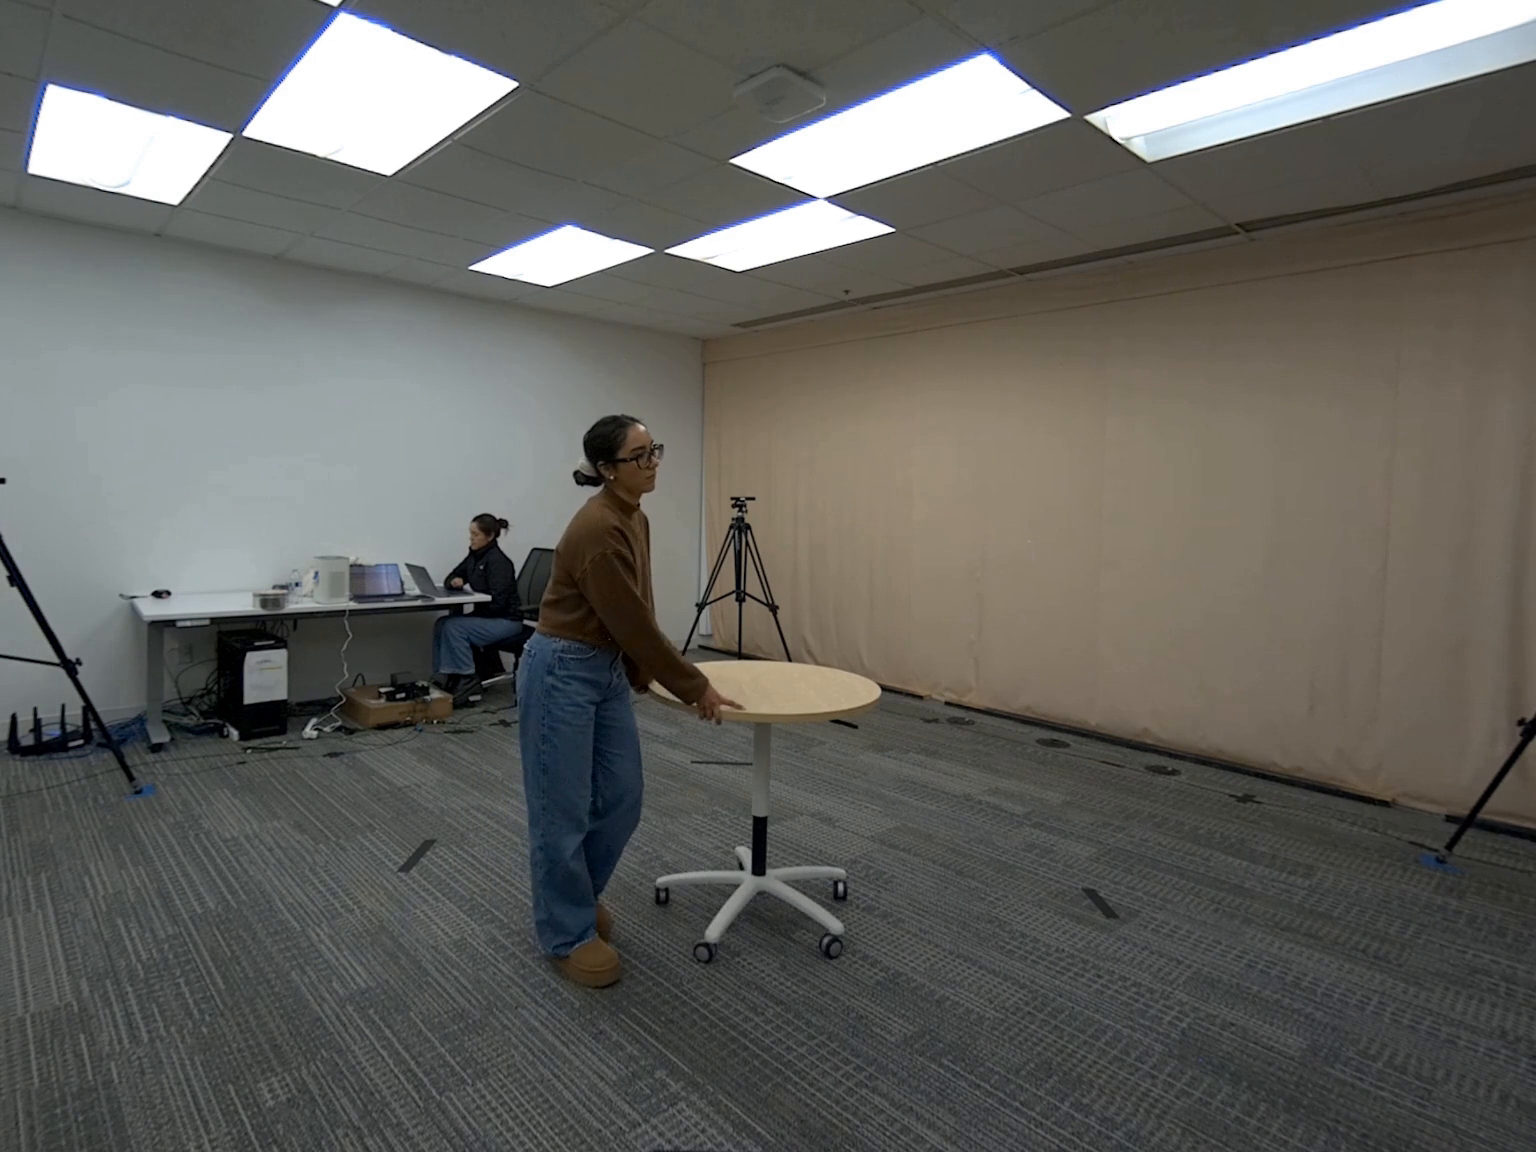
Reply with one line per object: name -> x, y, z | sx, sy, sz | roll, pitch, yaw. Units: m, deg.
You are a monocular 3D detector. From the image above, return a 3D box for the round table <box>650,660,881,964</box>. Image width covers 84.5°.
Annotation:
round table -> -0.013, 0.742, 2.804 | 0.784, 0.784, 0.788 | 1, 5, -1
